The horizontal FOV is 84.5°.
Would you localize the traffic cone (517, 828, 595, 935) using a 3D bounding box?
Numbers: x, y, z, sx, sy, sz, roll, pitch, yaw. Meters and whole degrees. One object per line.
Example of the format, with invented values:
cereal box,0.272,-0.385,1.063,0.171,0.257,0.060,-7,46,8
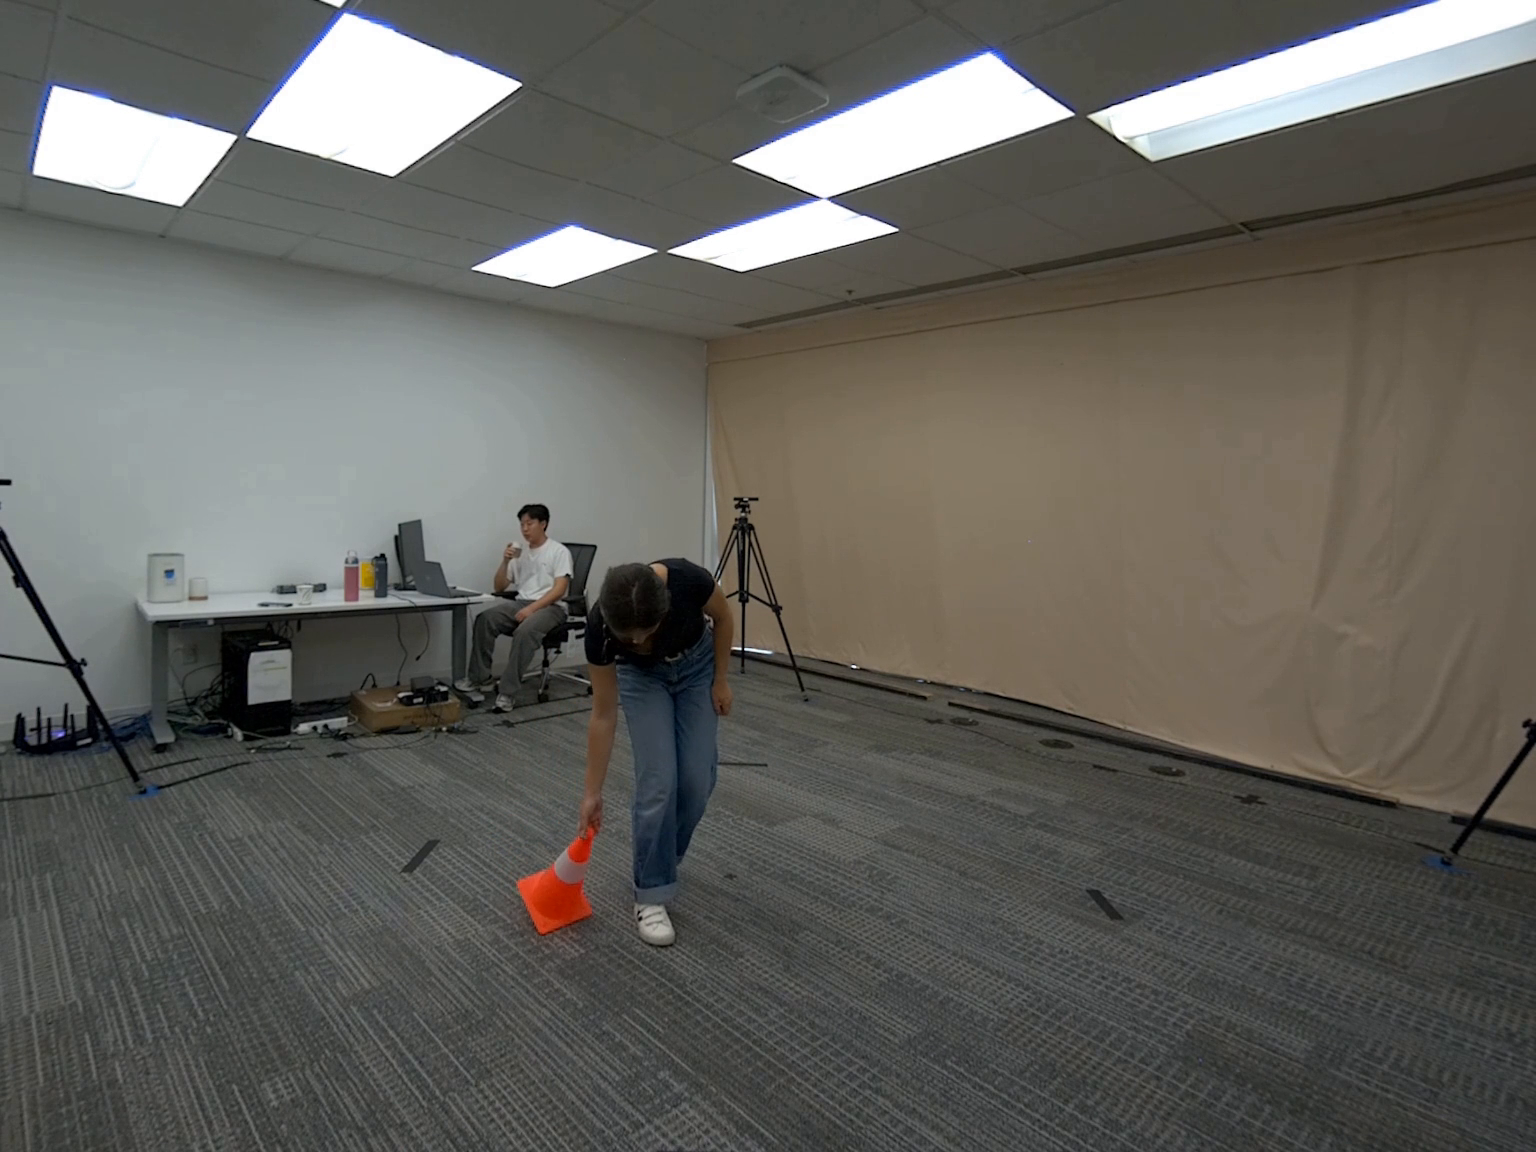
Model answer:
traffic cone,-0.627,0.921,2.673,0.198,0.381,0.211,1,38,-39
